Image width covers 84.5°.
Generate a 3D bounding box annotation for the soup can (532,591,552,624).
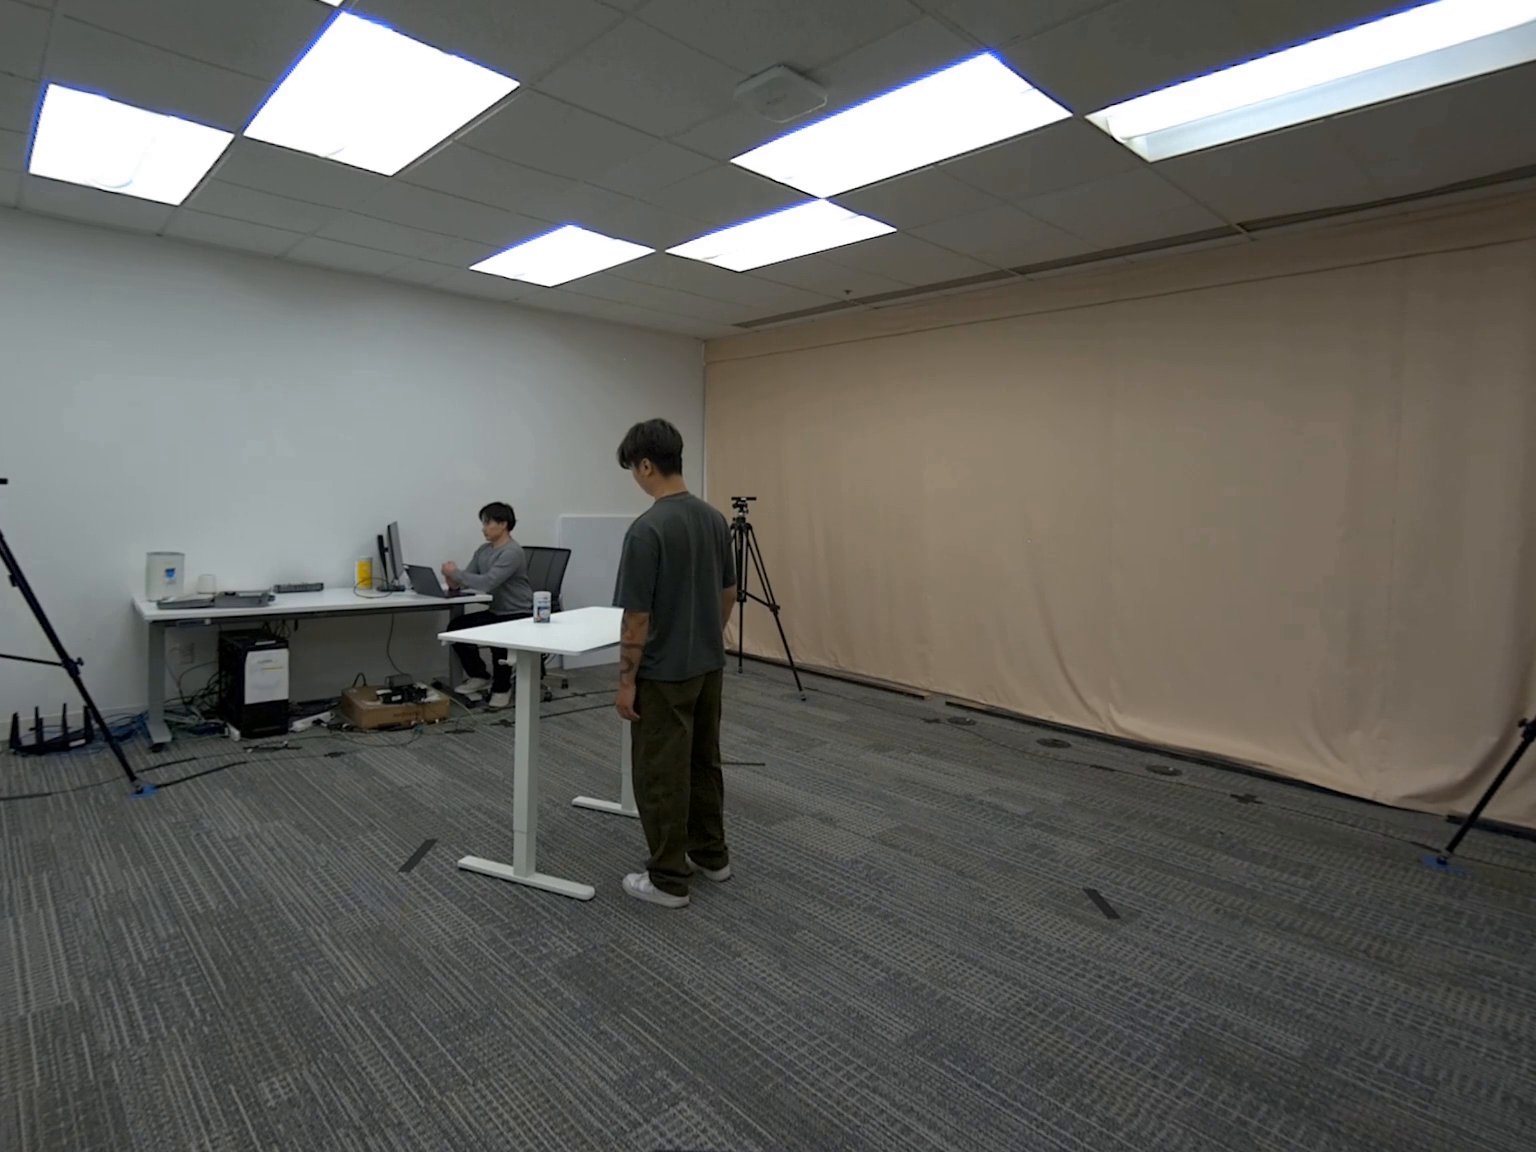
[{"bbox_3d":[-0.902,0.126,3.342,0.067,0.121,0.067,-1,5,-1],"label":"soup can"}]
